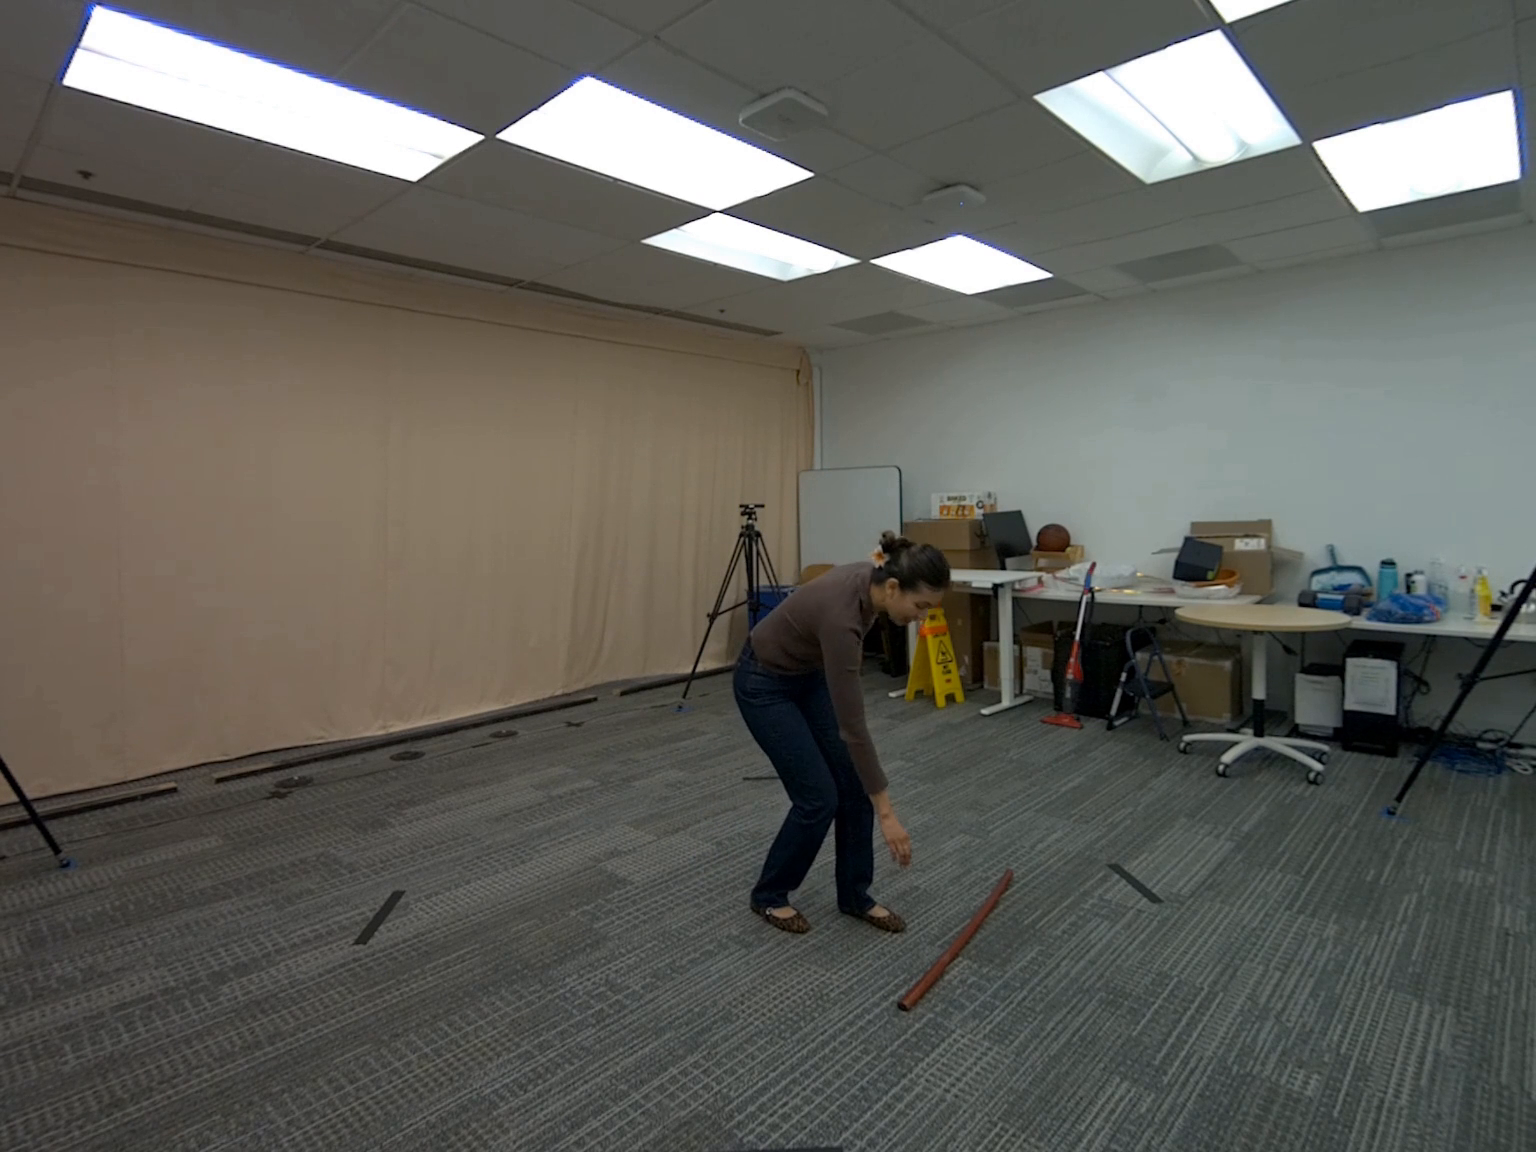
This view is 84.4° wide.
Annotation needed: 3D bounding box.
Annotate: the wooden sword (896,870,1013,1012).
[{"bbox_3d":[0.634,1.129,2.712,0.053,0.024,0.996,5,7,32],"label":"wooden sword"}]
